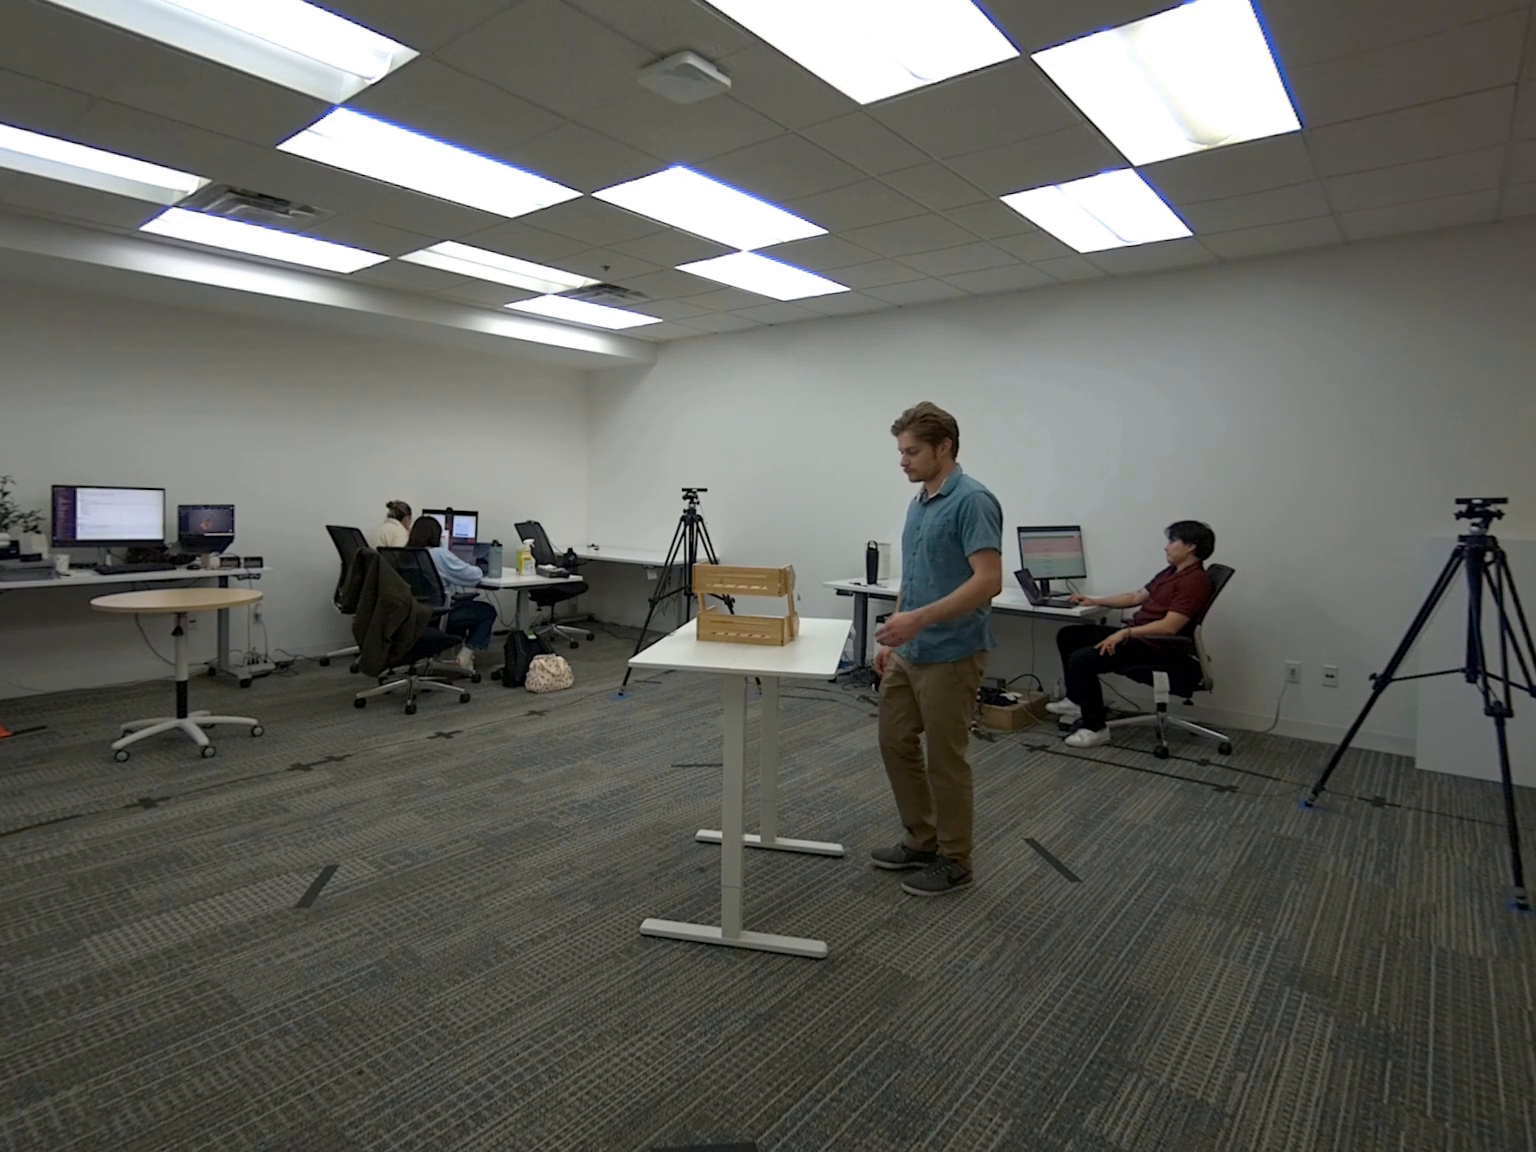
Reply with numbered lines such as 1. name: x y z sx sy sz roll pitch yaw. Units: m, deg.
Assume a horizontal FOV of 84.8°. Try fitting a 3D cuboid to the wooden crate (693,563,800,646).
1. wooden crate: -0.076 0.078 2.903 0.330 0.272 0.298 2 5 15
